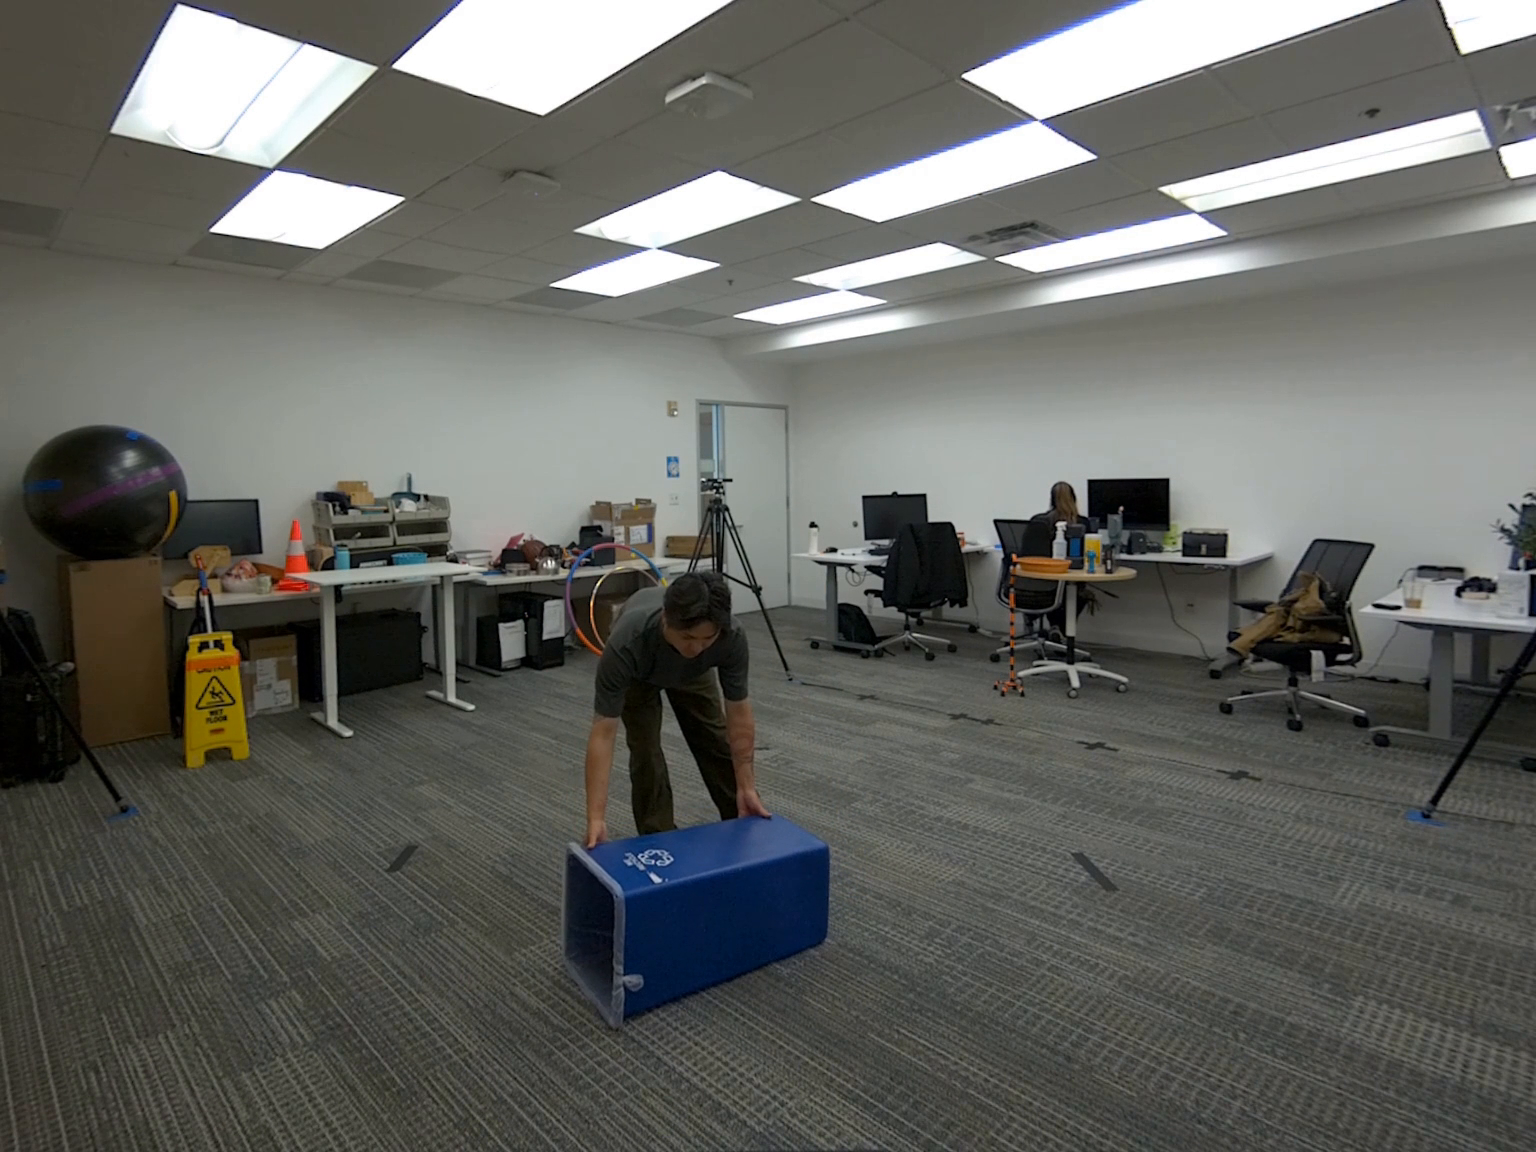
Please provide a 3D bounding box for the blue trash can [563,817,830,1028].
[{"bbox_3d":[-0.195,0.948,2.498,0.696,0.372,0.389,-3,6,-33],"label":"blue trash can"}]
